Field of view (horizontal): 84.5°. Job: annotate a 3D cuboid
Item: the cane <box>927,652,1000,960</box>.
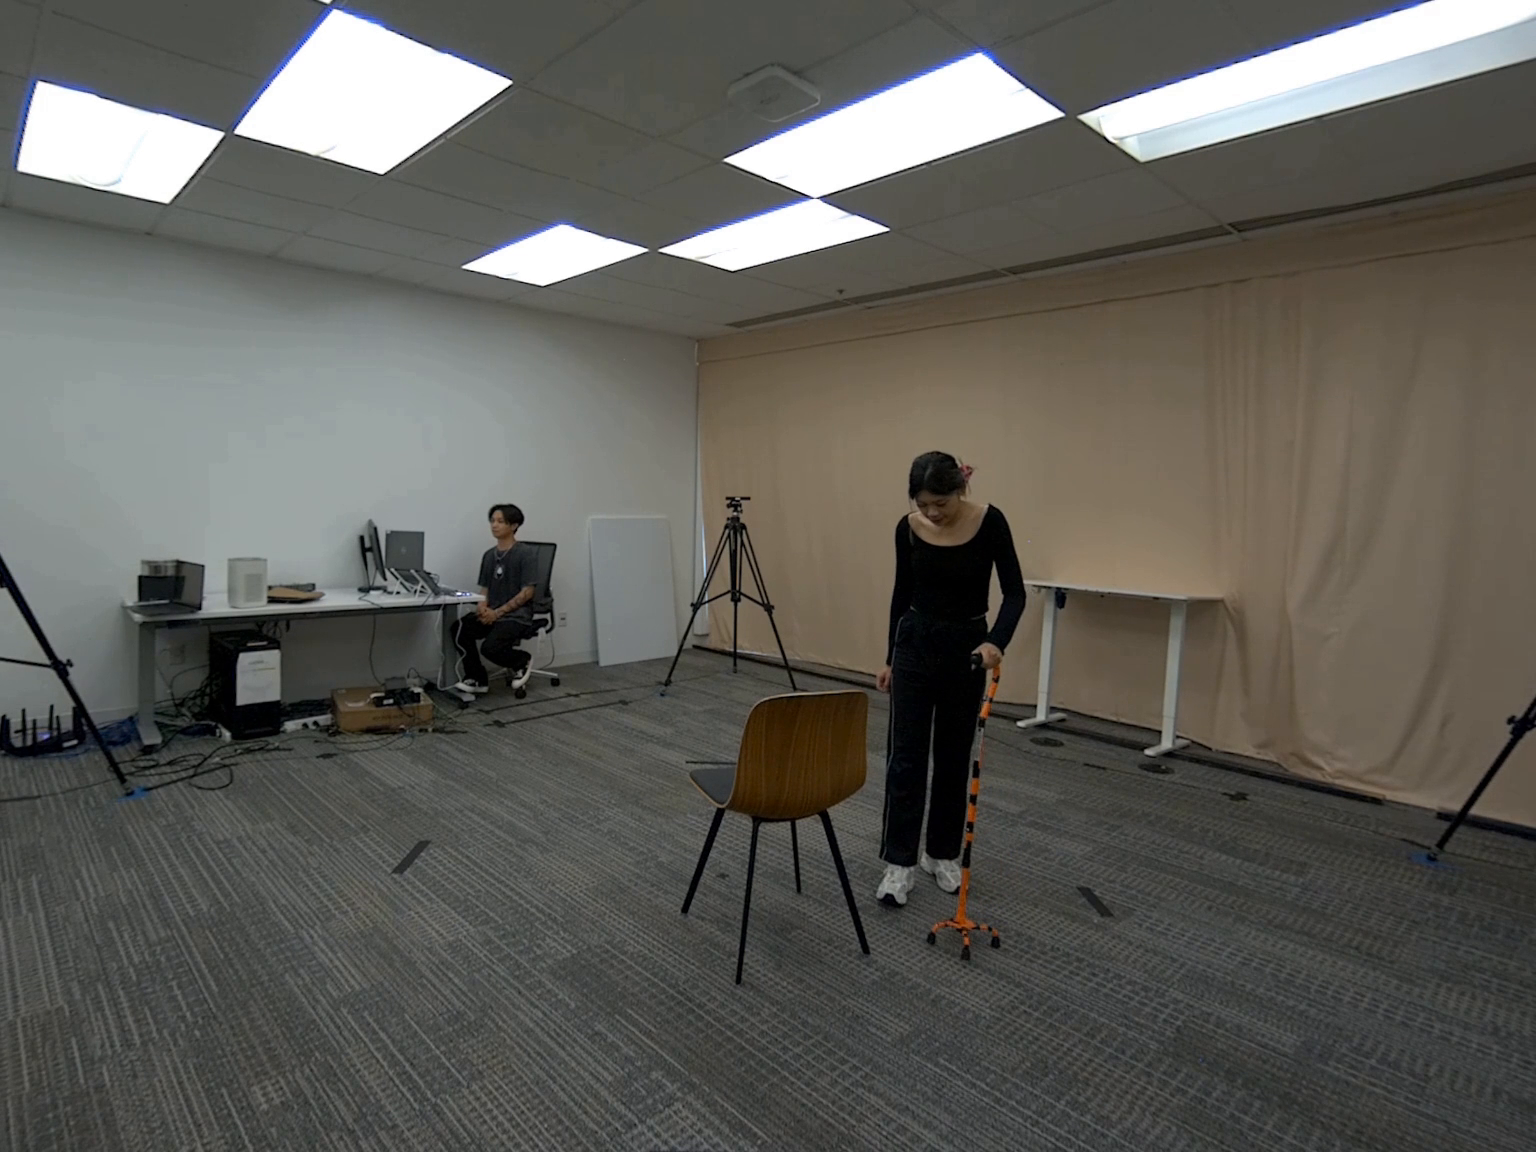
[{"bbox_3d":[0.660,0.707,2.643,0.201,0.908,0.155,5,-1,-40],"label":"cane"}]
